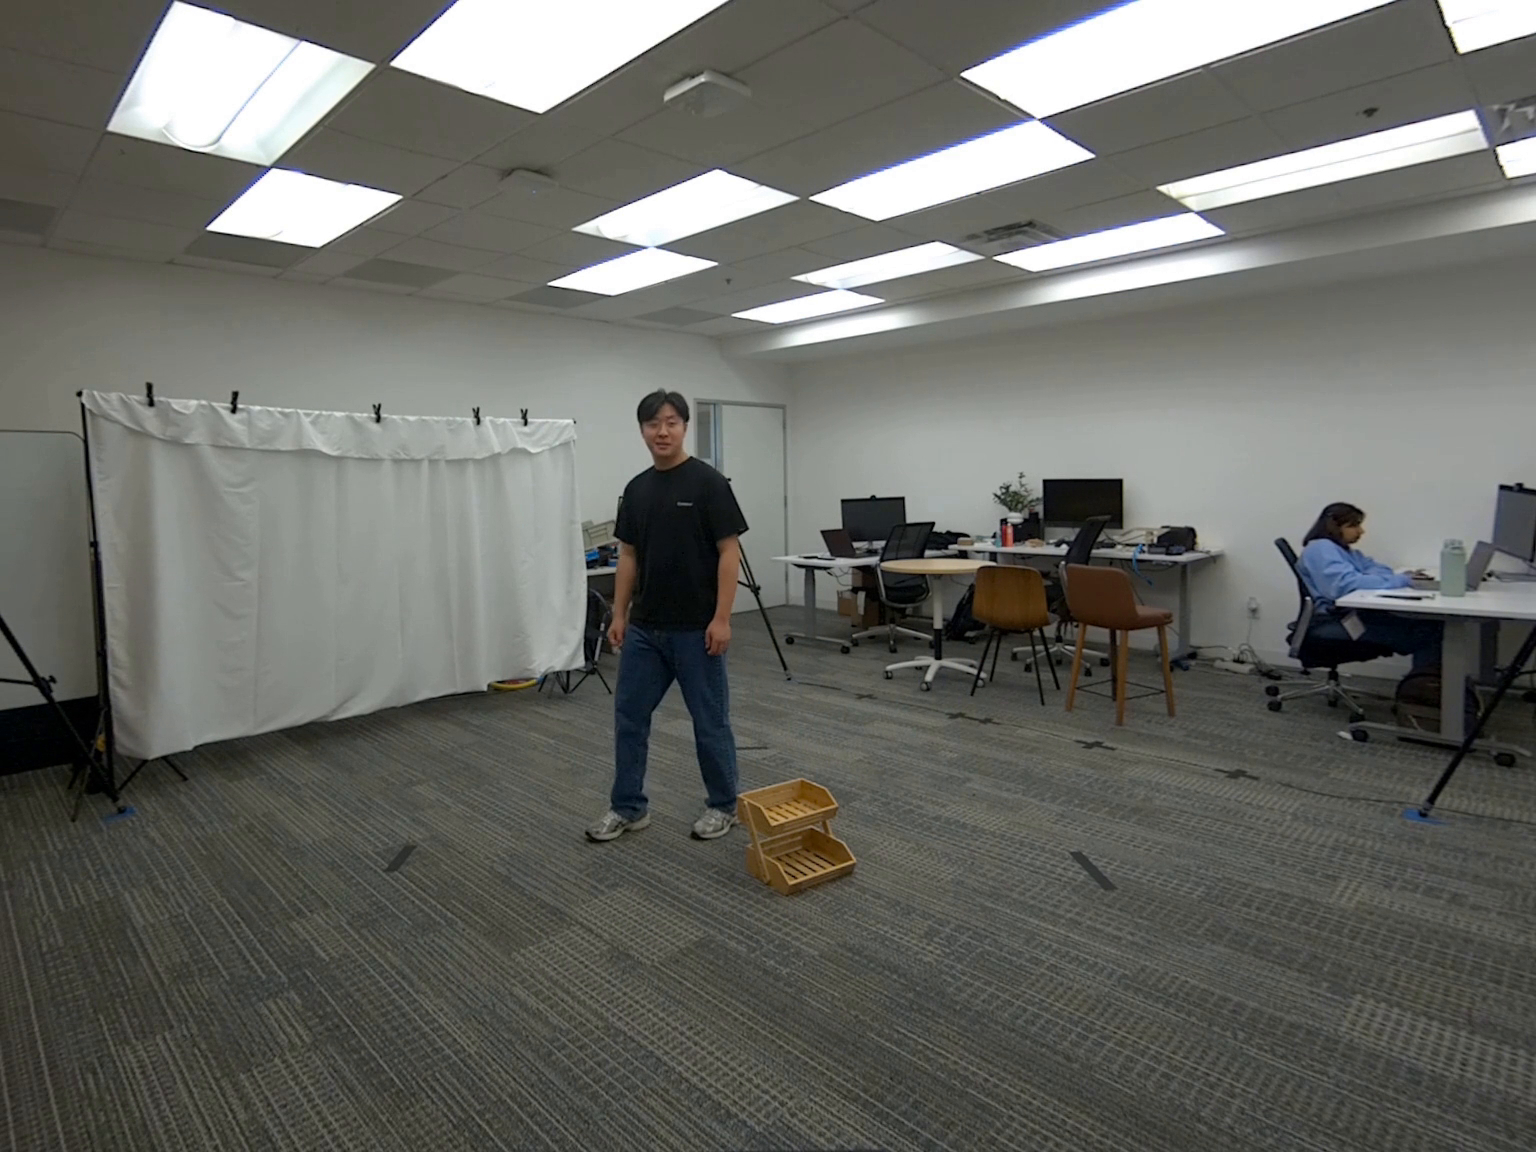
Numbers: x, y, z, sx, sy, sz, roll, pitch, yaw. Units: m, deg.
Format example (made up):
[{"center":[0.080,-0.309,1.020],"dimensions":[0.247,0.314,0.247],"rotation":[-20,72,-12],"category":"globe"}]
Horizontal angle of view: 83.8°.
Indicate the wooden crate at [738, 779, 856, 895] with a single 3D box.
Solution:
[{"center":[0.105,0.914,3.035],"dimensions":[0.316,0.272,0.311],"rotation":[-5,6,-35],"category":"wooden crate"}]
